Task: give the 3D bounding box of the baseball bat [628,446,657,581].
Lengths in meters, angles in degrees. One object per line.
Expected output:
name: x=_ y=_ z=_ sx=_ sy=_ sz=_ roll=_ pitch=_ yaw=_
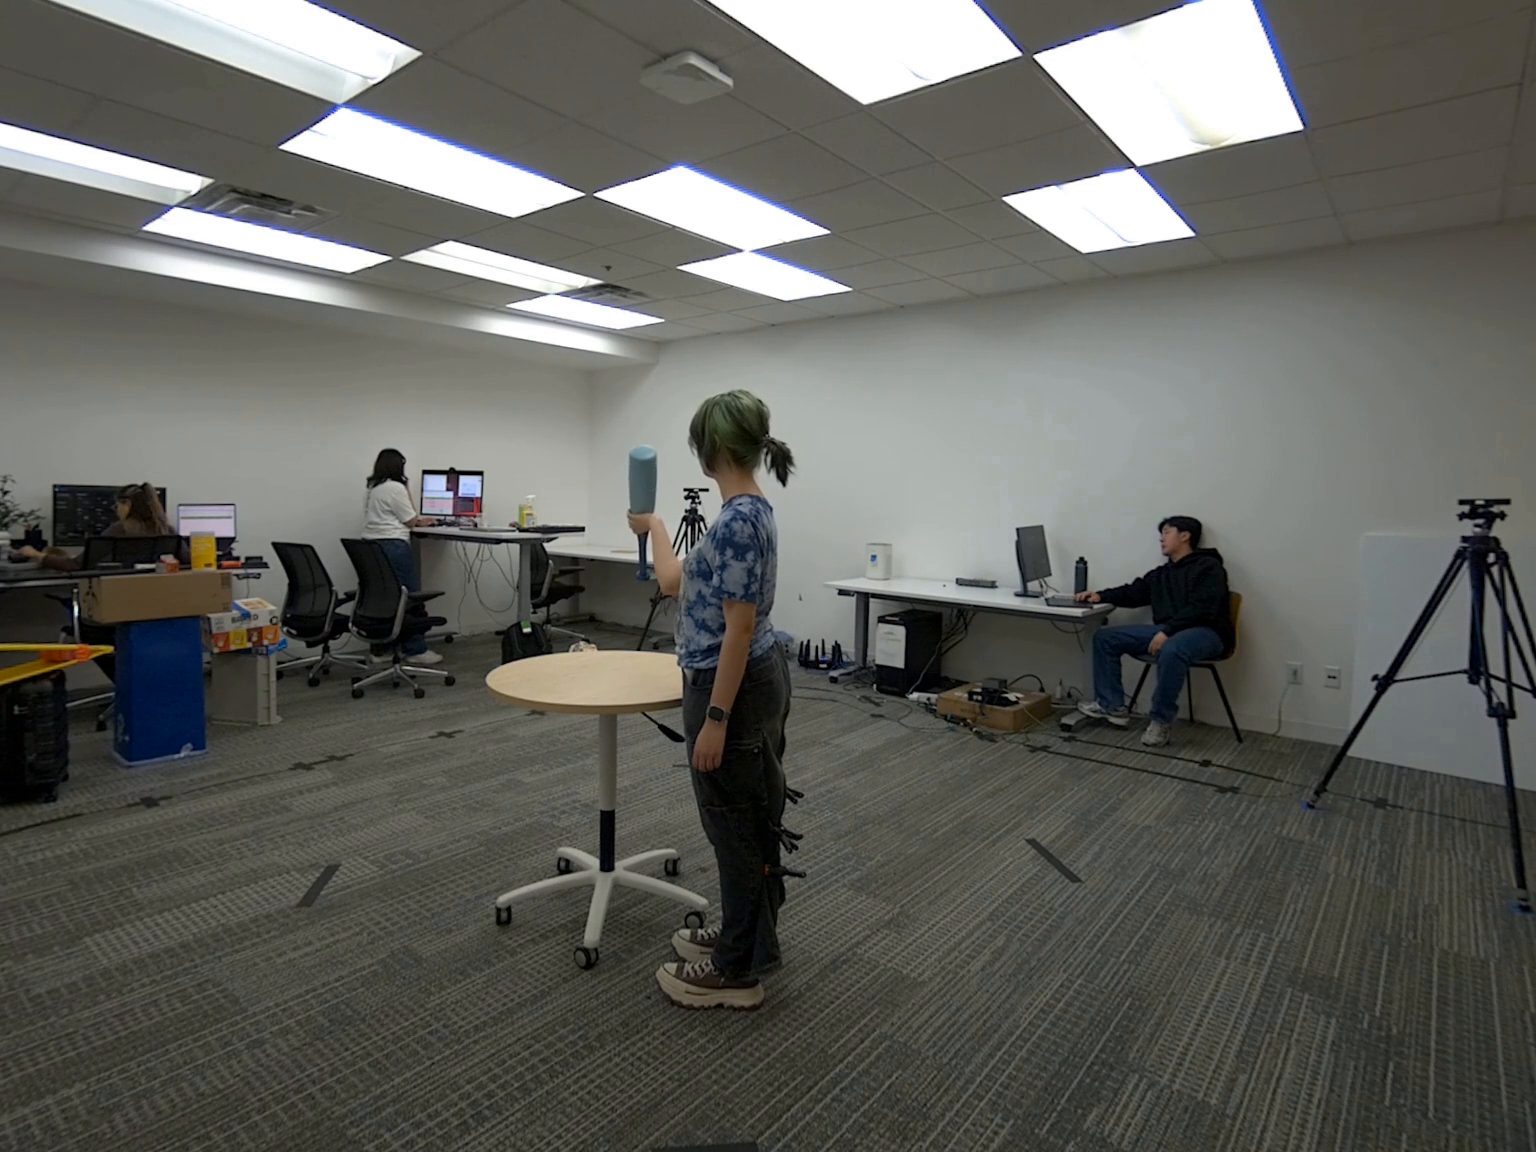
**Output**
baseball bat: x=-0.421 y=-0.187 z=2.751 sx=0.089 sy=0.529 sz=0.092 roll=3 pitch=42 yaw=-4
